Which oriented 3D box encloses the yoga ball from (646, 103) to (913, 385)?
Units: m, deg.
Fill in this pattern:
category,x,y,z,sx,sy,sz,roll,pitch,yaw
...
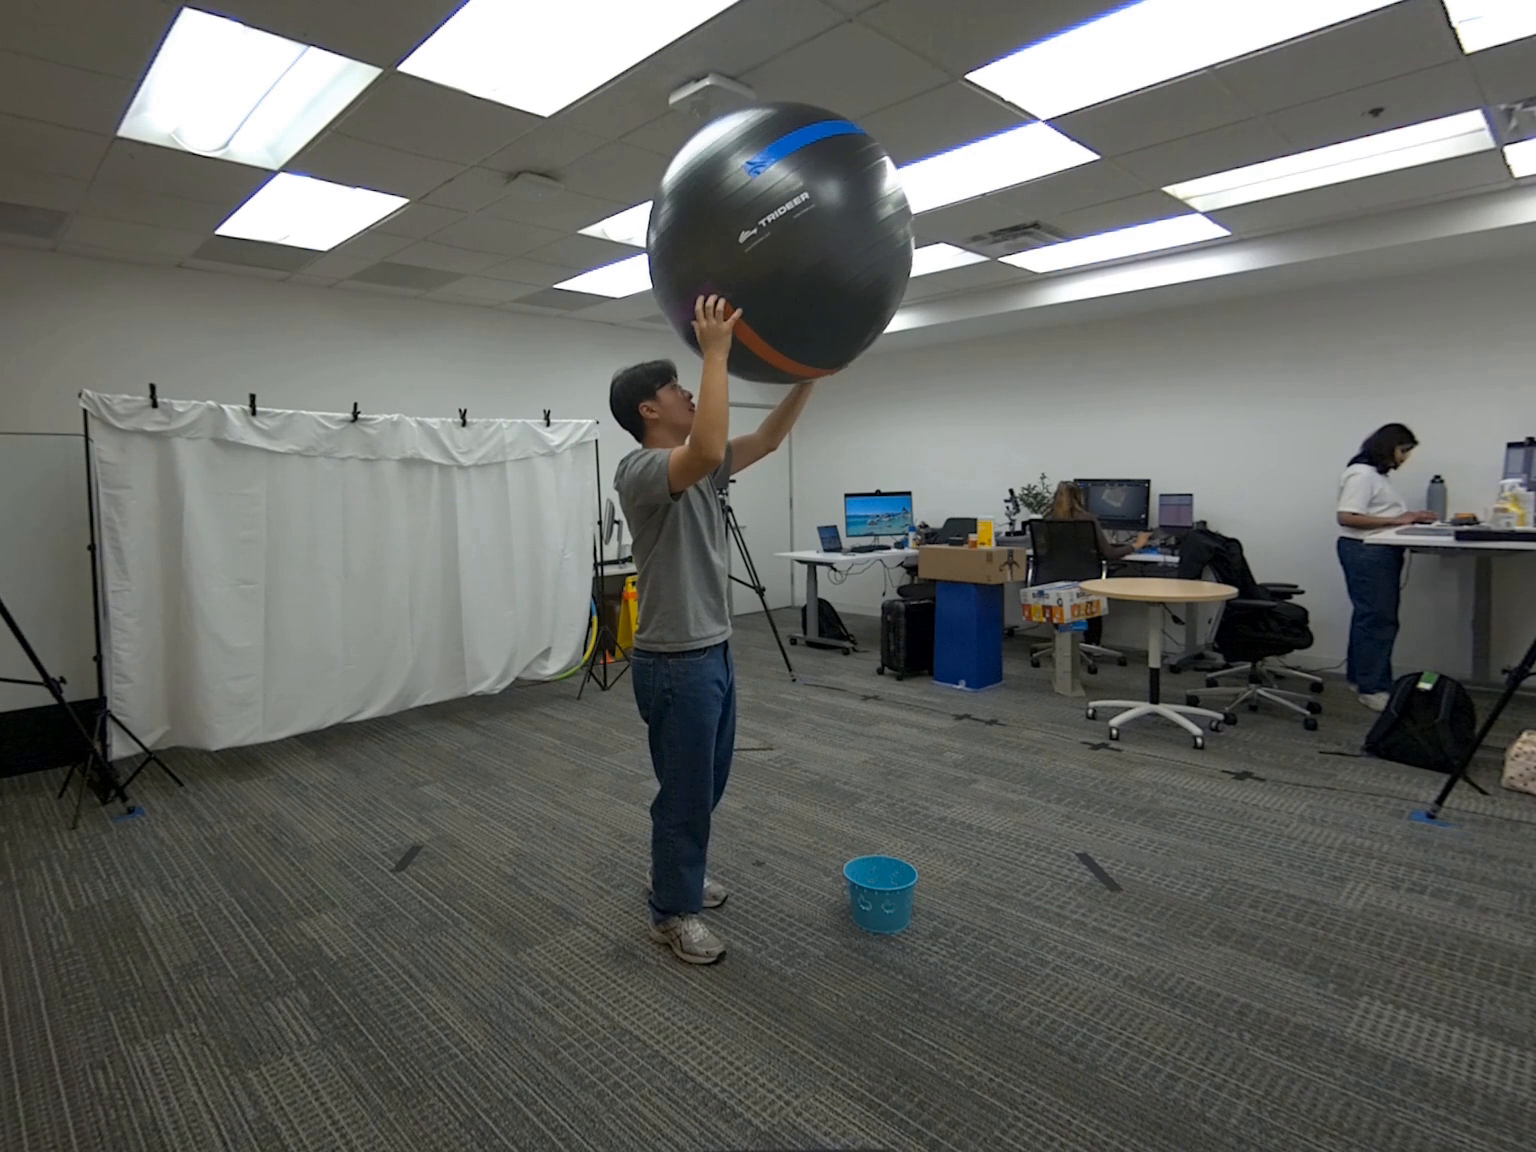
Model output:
category,x,y,z,sx,sy,sz,roll,pitch,yaw
yoga ball,0.035,-0.932,2.422,0.757,0.755,0.762,-1,5,-2
